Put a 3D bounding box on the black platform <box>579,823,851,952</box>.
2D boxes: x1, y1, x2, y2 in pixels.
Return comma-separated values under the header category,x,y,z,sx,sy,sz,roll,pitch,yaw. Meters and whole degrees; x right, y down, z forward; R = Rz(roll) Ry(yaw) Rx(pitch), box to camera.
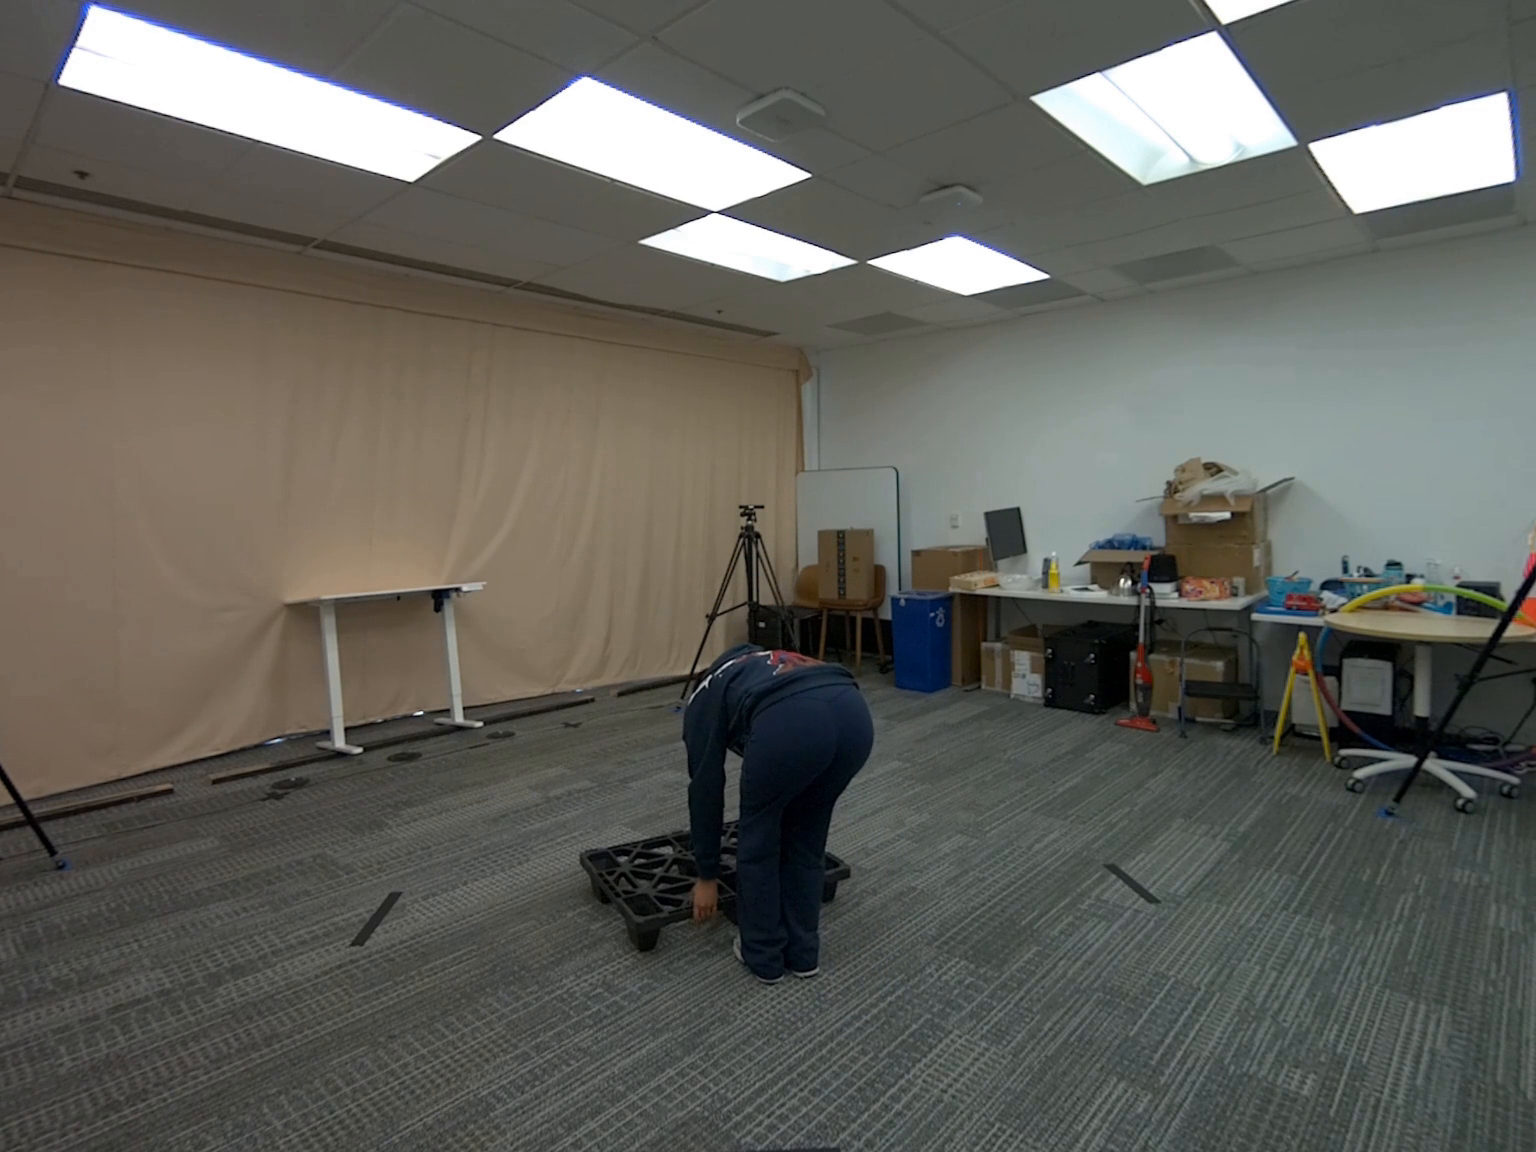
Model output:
category,x,y,z,sx,sy,sz,roll,pitch,yaw
black platform,-0.204,1.079,3.004,0.786,0.143,0.622,-3,5,-27
